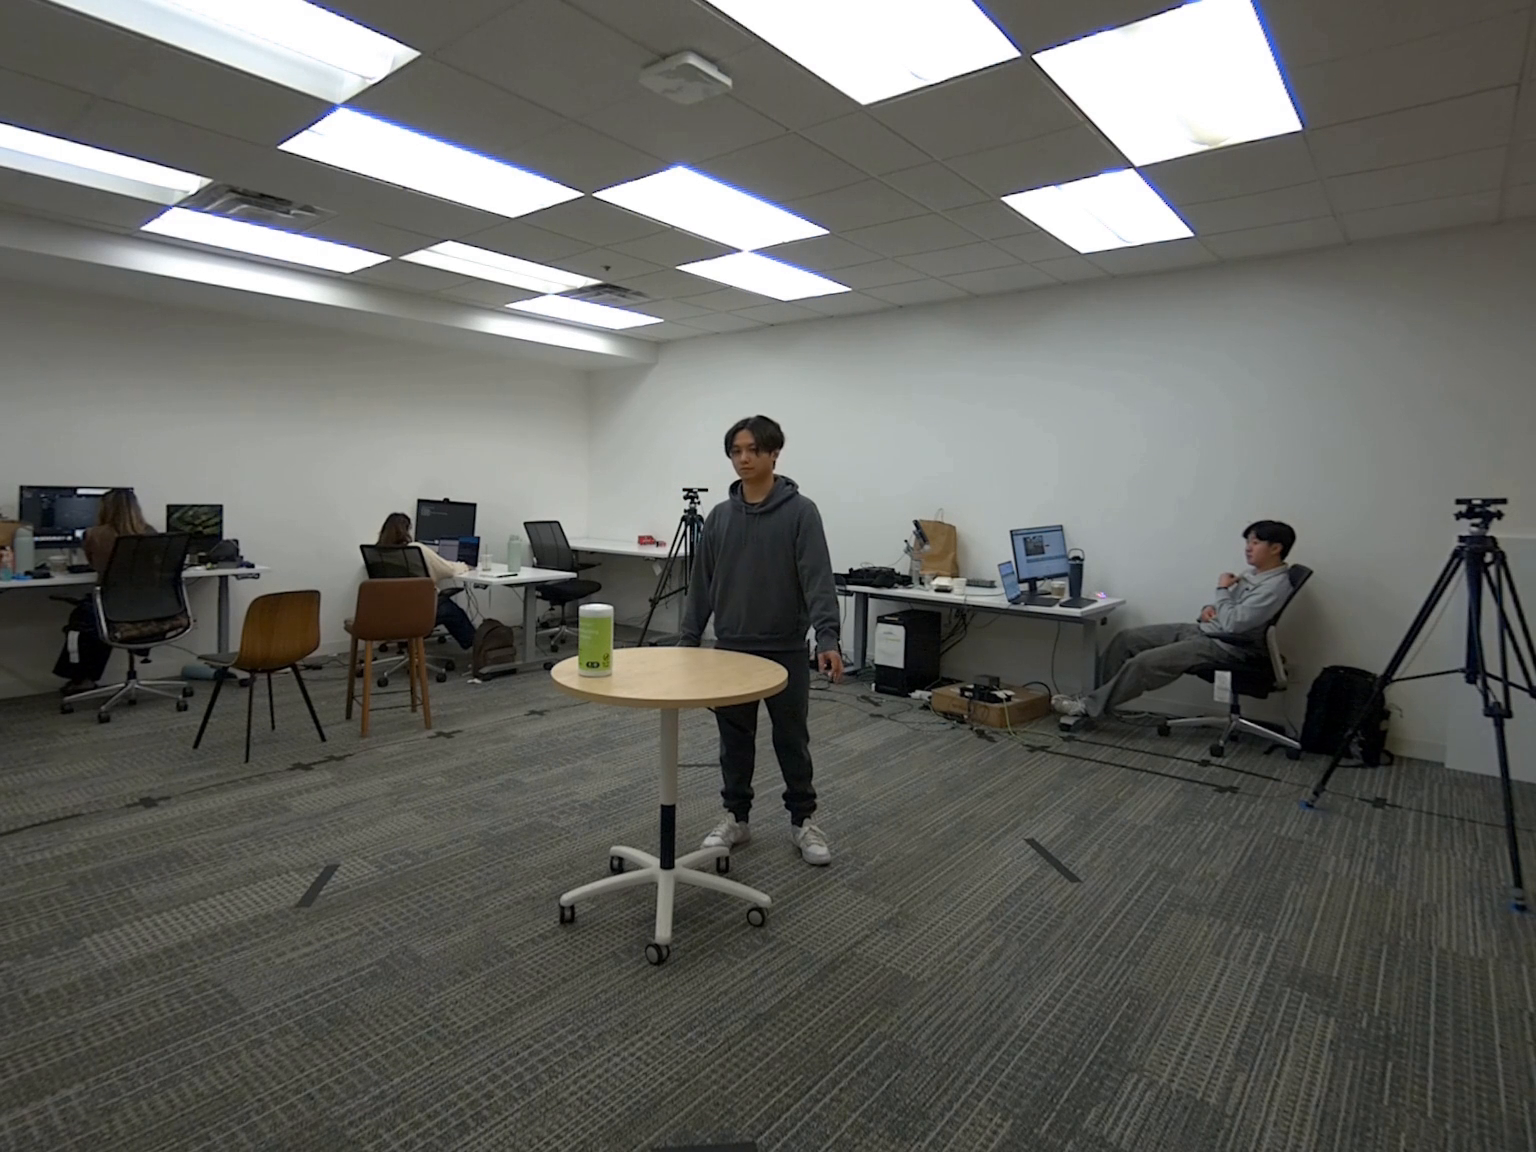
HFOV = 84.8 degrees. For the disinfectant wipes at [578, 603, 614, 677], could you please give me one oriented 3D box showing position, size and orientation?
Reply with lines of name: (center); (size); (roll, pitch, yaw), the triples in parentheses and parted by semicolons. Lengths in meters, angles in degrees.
disinfectant wipes: (-0.556, 0.202, 2.687); (0.117, 0.217, 0.118); (2, 4, -2)
